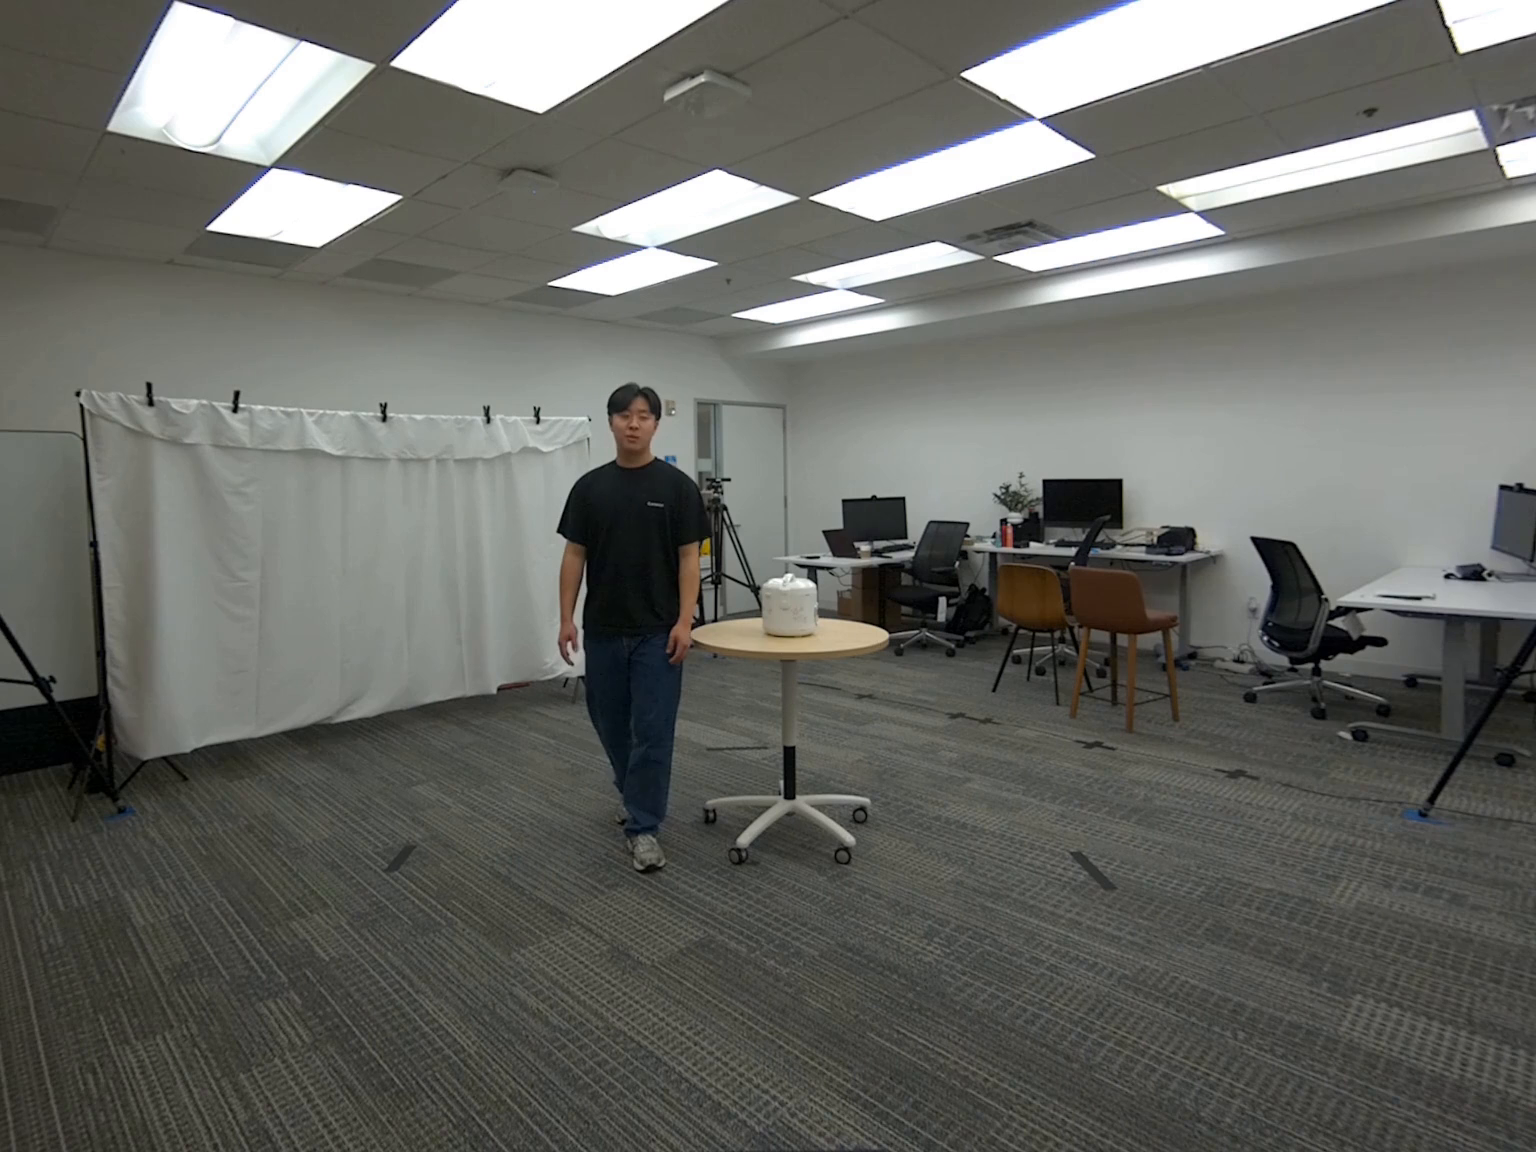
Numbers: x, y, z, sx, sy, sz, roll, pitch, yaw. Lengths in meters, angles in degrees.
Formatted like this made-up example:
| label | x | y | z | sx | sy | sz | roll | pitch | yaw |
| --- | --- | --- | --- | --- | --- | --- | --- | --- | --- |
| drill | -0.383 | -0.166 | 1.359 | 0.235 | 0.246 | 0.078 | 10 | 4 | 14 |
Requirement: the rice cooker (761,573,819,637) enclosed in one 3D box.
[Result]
| label | x | y | z | sx | sy | sz | roll | pitch | yaw |
| --- | --- | --- | --- | --- | --- | --- | --- | --- | --- |
| rice cooker | 0.085 | 0.107 | 3.289 | 0.220 | 0.232 | 0.218 | 0 | 4 | 14 |
